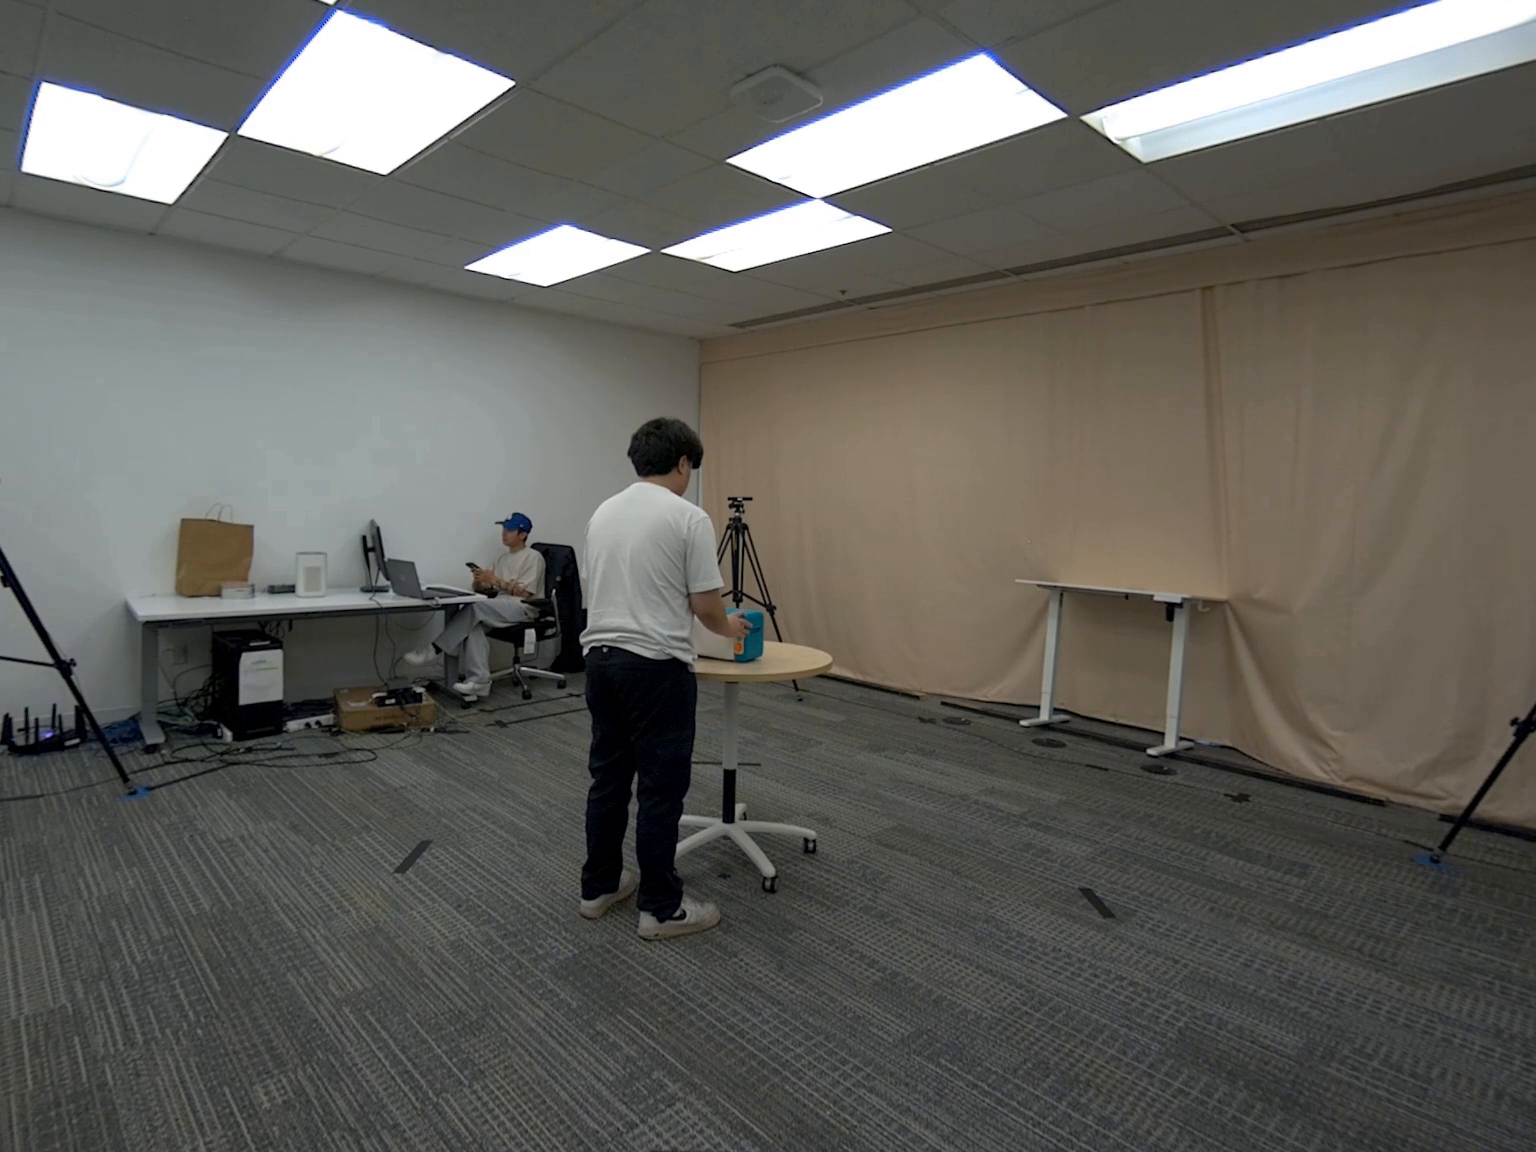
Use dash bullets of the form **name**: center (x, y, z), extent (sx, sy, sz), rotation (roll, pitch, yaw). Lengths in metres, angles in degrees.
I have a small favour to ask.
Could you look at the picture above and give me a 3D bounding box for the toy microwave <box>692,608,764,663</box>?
- **toy microwave**: center (-0.174, 0.217, 3.163), extent (0.293, 0.184, 0.149), rotation (4, 4, 32)
